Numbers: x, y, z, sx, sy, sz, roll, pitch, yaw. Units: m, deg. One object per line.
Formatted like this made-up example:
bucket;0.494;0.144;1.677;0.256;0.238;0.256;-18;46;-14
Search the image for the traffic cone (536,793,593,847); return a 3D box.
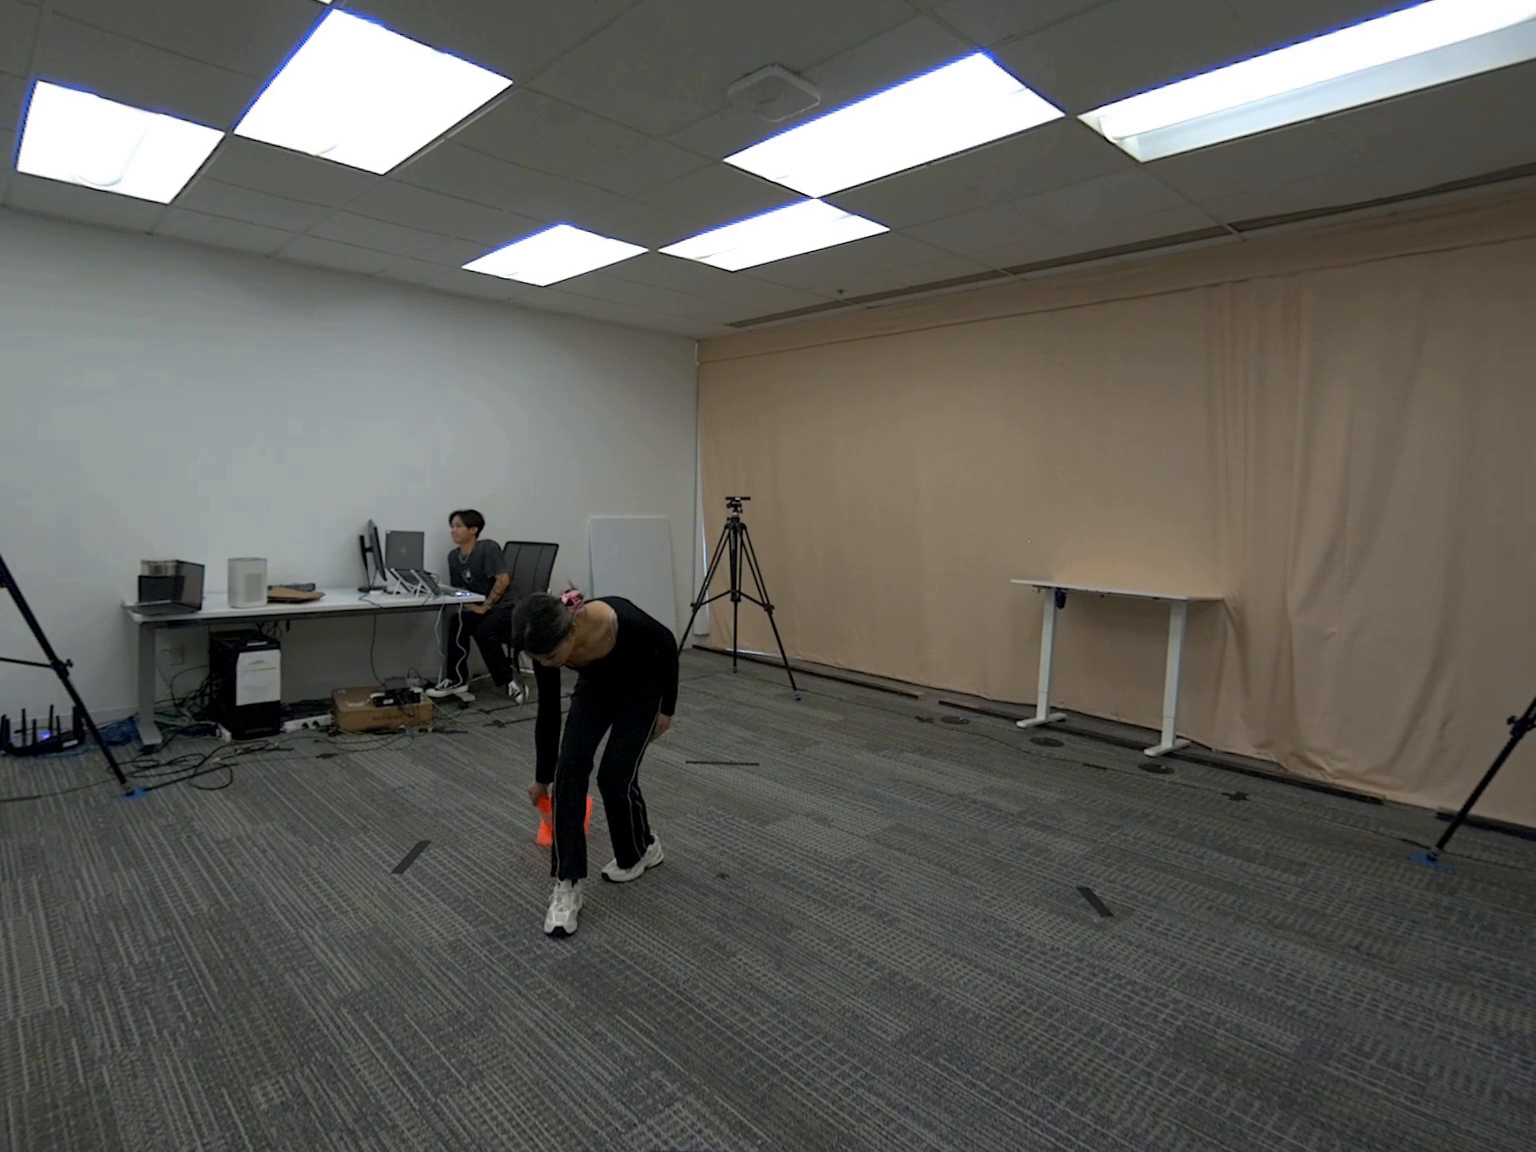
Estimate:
traffic cone;-0.845;0.892;3.231;0.206;0.207;0.374;2;-30;8
